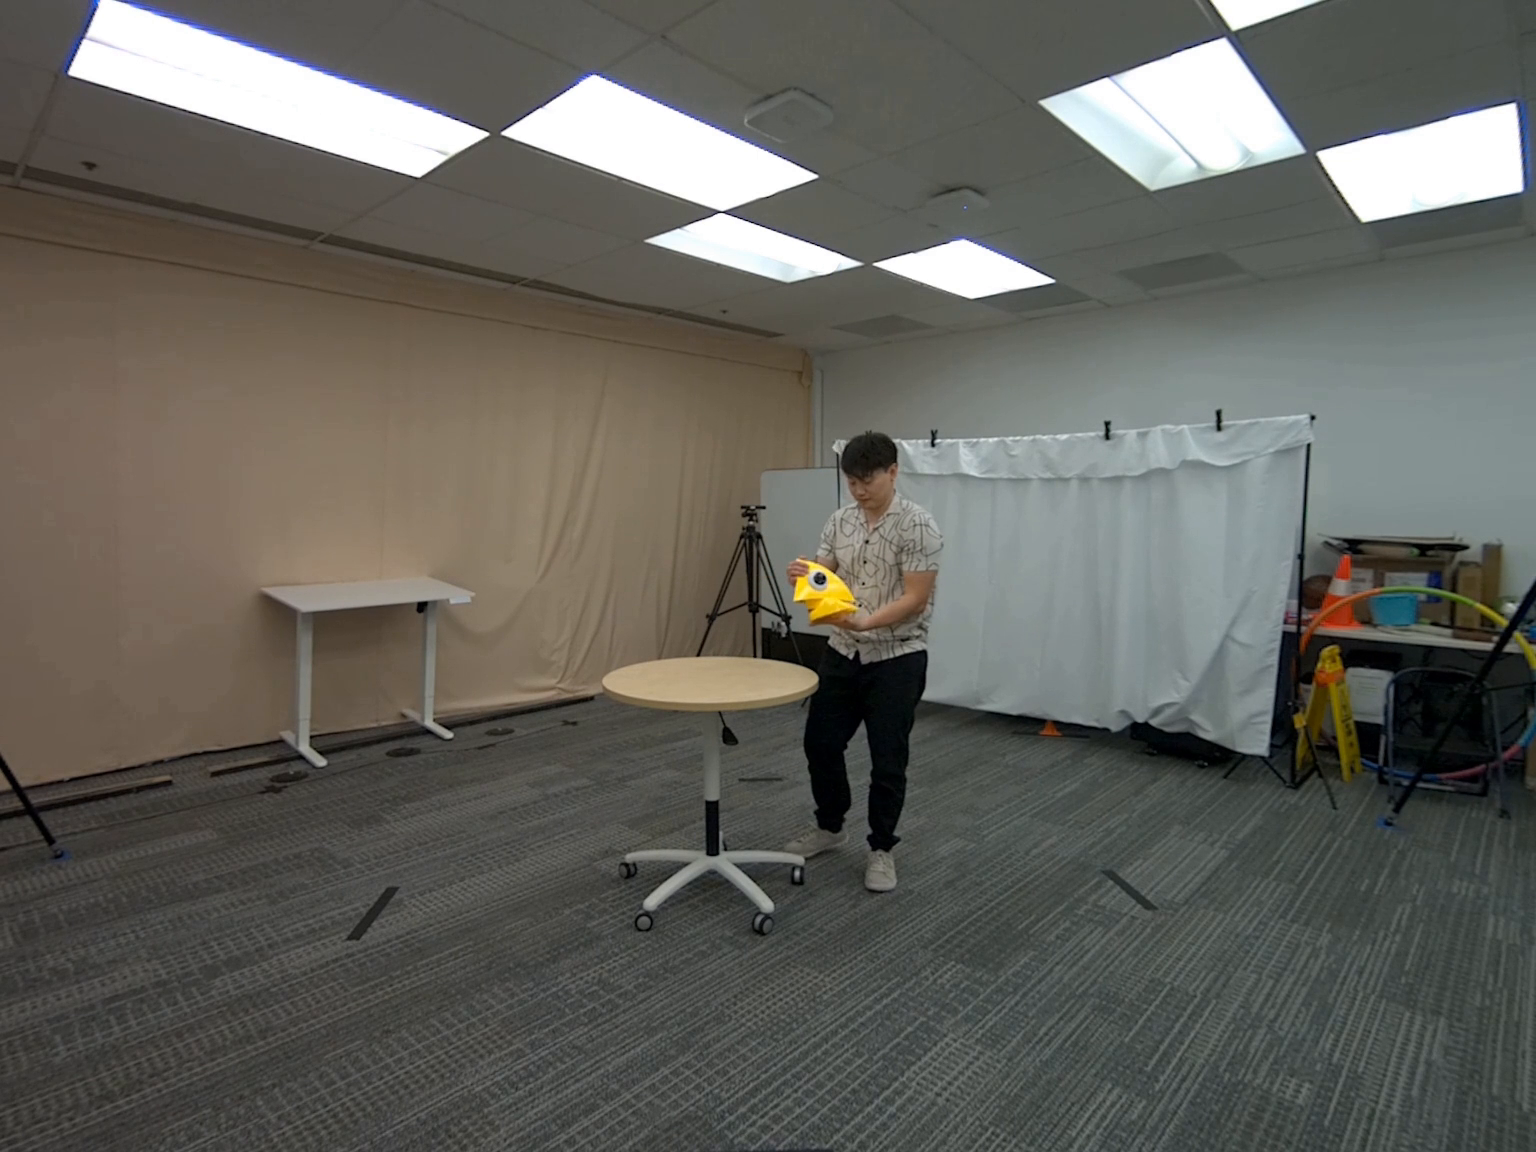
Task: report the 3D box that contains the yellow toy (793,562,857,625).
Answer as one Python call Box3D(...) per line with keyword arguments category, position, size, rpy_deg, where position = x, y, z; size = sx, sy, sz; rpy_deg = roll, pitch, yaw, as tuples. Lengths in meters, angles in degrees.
Box3D(category="yellow toy", position=(0.198, 0.036, 2.966), size=(0.196, 0.233, 0.200), rpy_deg=(-16, -9, 16))
